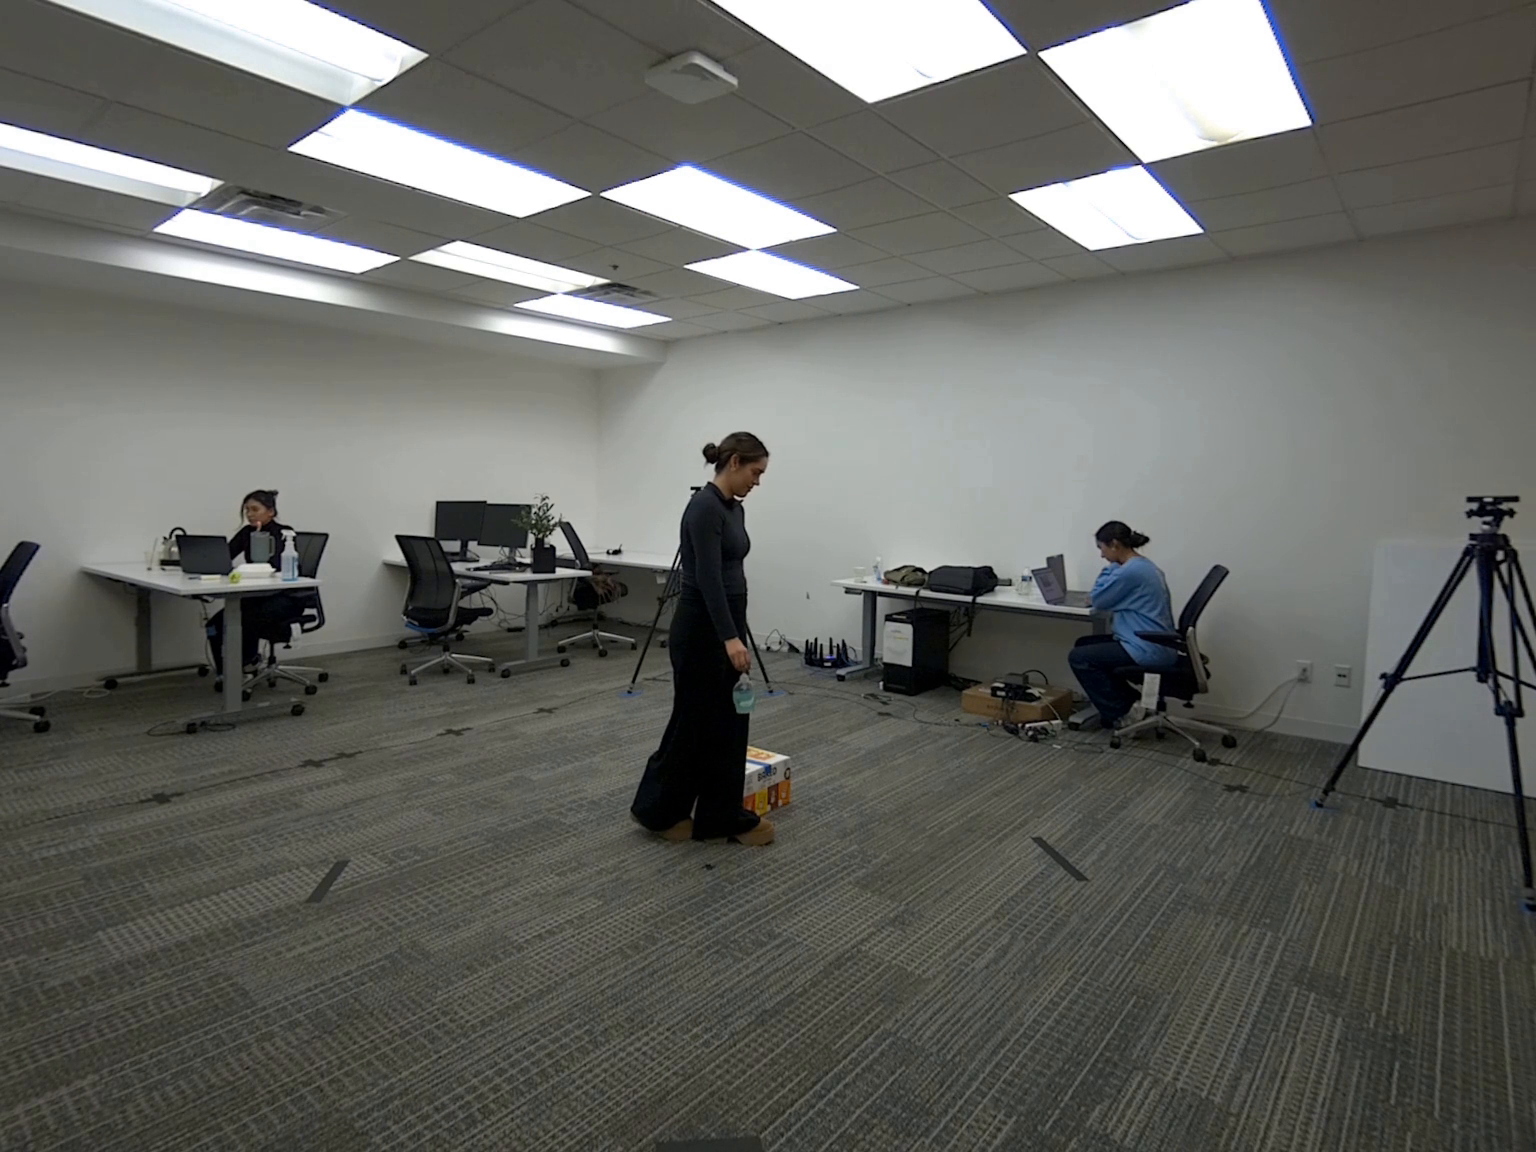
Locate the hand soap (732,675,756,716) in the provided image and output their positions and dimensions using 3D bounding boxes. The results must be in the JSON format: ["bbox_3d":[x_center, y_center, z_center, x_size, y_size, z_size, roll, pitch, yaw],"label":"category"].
[{"bbox_3d":[-0.101,0.405,3.034,0.083,0.168,0.044,1,-1,-15],"label":"hand soap"}]
